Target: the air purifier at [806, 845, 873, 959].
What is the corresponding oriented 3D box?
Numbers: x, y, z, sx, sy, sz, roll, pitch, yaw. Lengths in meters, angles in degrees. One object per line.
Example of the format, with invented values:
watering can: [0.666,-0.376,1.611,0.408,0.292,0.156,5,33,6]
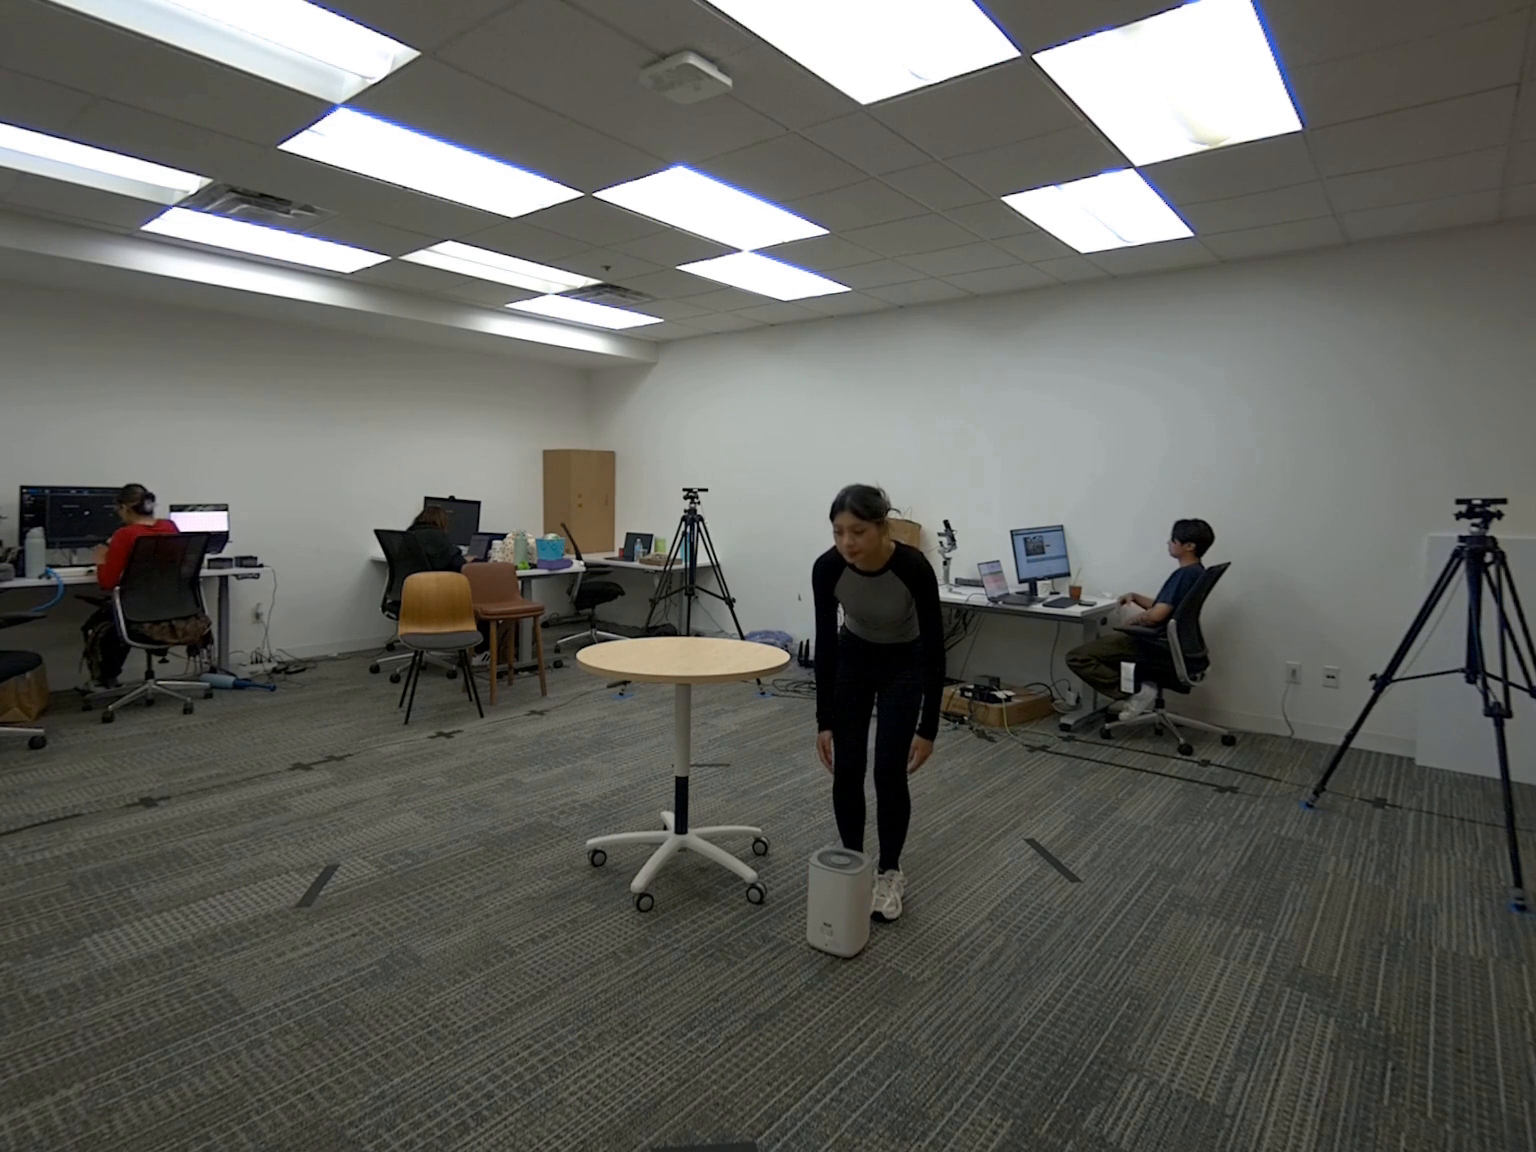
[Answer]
air purifier: [0.217,0.992,2.610,0.176,0.264,0.167,3,4,30]
